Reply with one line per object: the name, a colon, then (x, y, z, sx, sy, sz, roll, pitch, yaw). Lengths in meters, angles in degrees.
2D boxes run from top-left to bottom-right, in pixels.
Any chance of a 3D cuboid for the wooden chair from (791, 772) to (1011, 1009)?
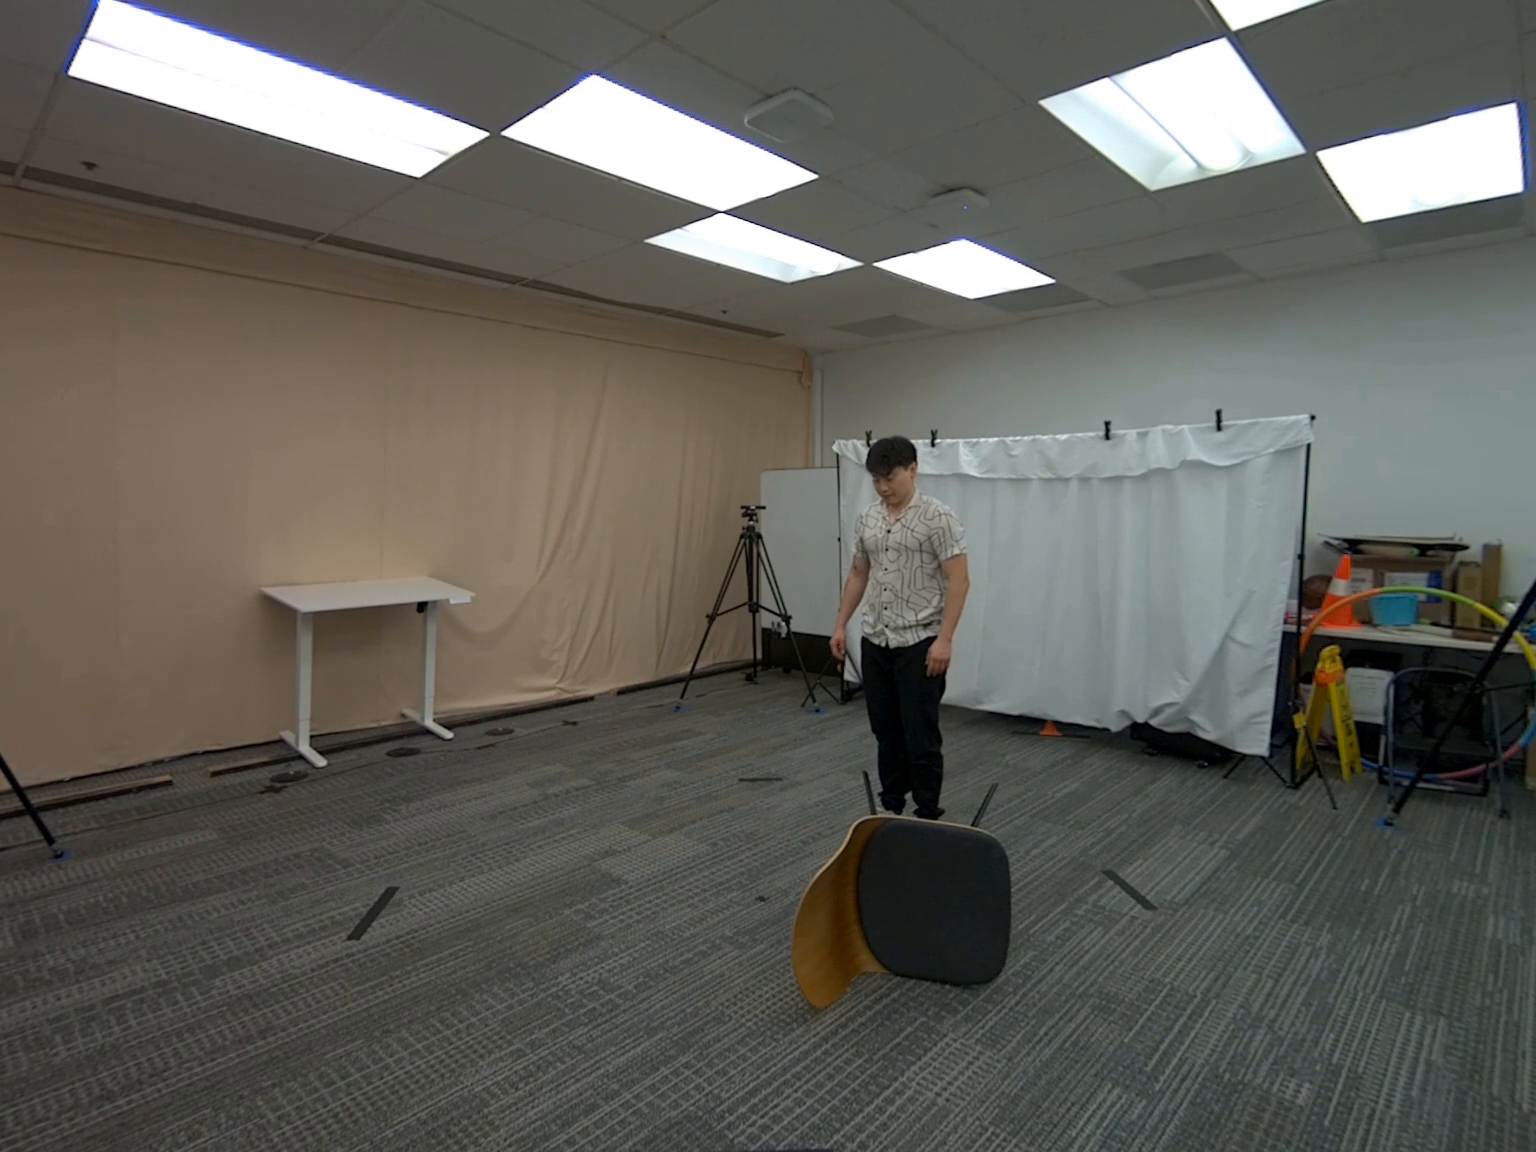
wooden chair: (0.459, 0.954, 2.516, 0.535, 0.477, 0.859, 2, 4, 20)
